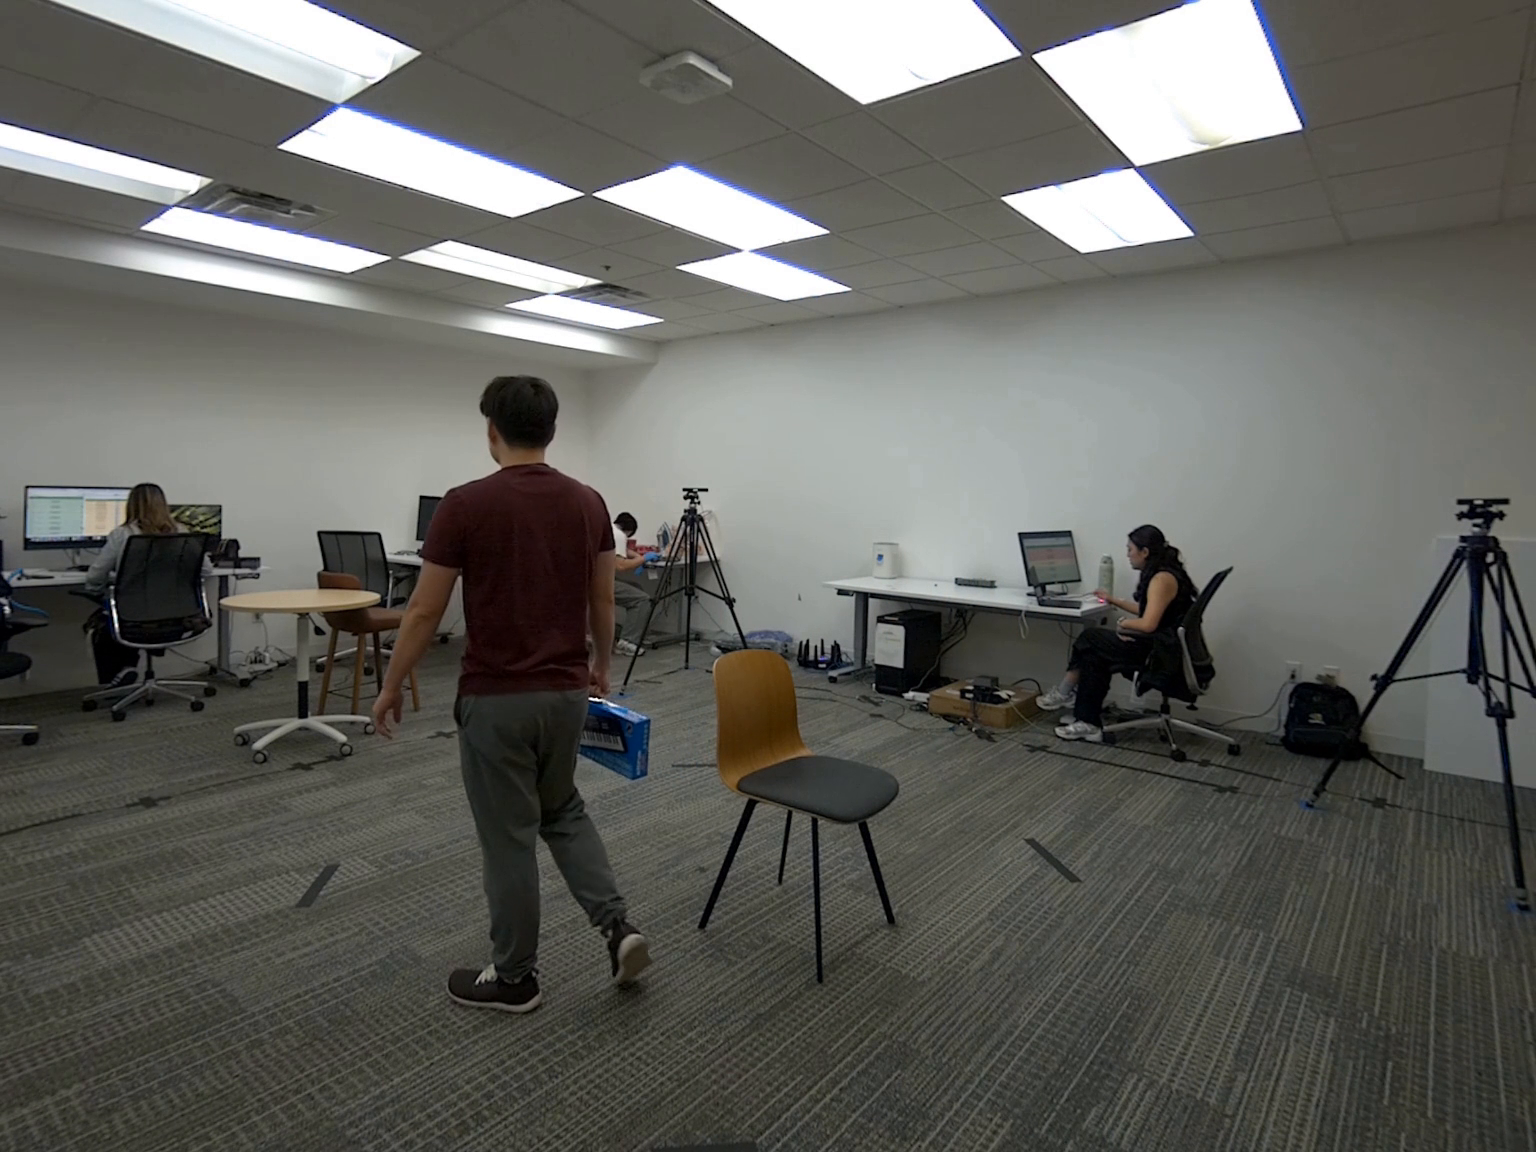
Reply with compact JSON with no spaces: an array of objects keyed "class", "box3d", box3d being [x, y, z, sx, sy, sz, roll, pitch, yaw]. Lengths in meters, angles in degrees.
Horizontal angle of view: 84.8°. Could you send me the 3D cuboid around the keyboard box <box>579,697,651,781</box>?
[{"class":"keyboard box","box3d":[-0.531,0.452,2.551,0.453,0.175,0.057,12,10,42]}]
